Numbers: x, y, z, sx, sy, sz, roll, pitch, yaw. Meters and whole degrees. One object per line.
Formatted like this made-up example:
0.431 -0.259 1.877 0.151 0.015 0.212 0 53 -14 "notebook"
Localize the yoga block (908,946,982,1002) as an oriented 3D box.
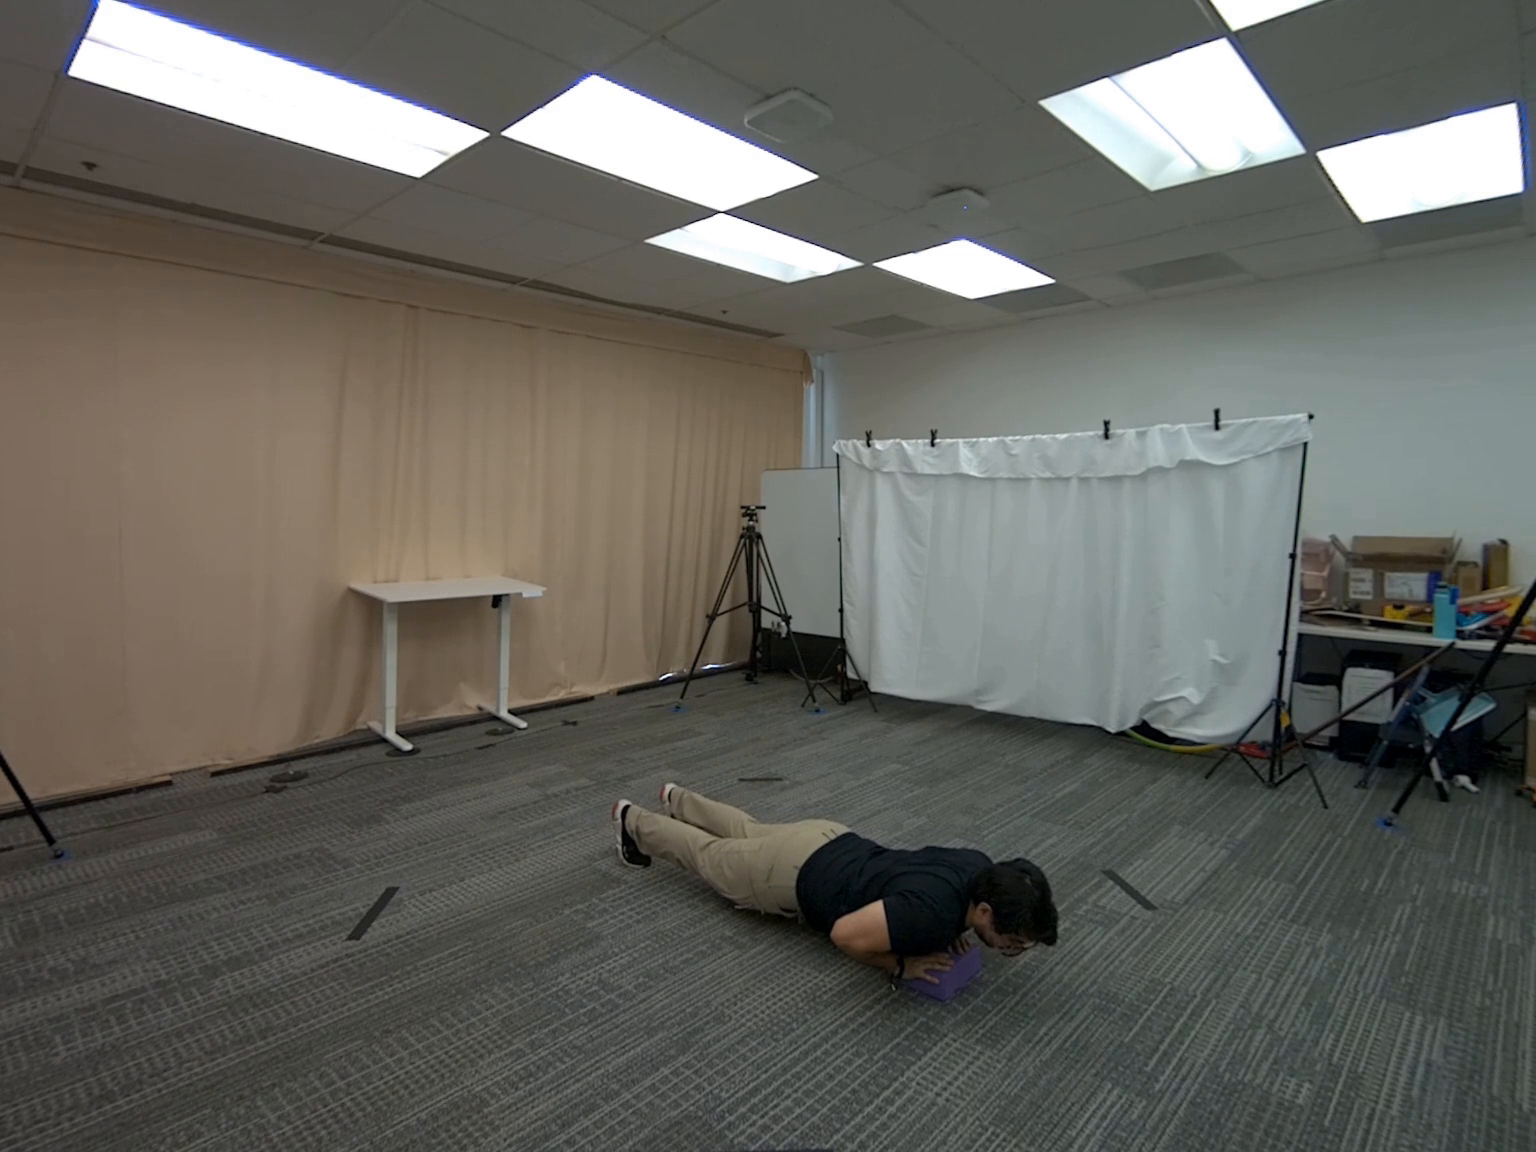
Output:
0.507 1.145 2.480 0.154 0.076 0.222 -1 5 41 "yoga block"
